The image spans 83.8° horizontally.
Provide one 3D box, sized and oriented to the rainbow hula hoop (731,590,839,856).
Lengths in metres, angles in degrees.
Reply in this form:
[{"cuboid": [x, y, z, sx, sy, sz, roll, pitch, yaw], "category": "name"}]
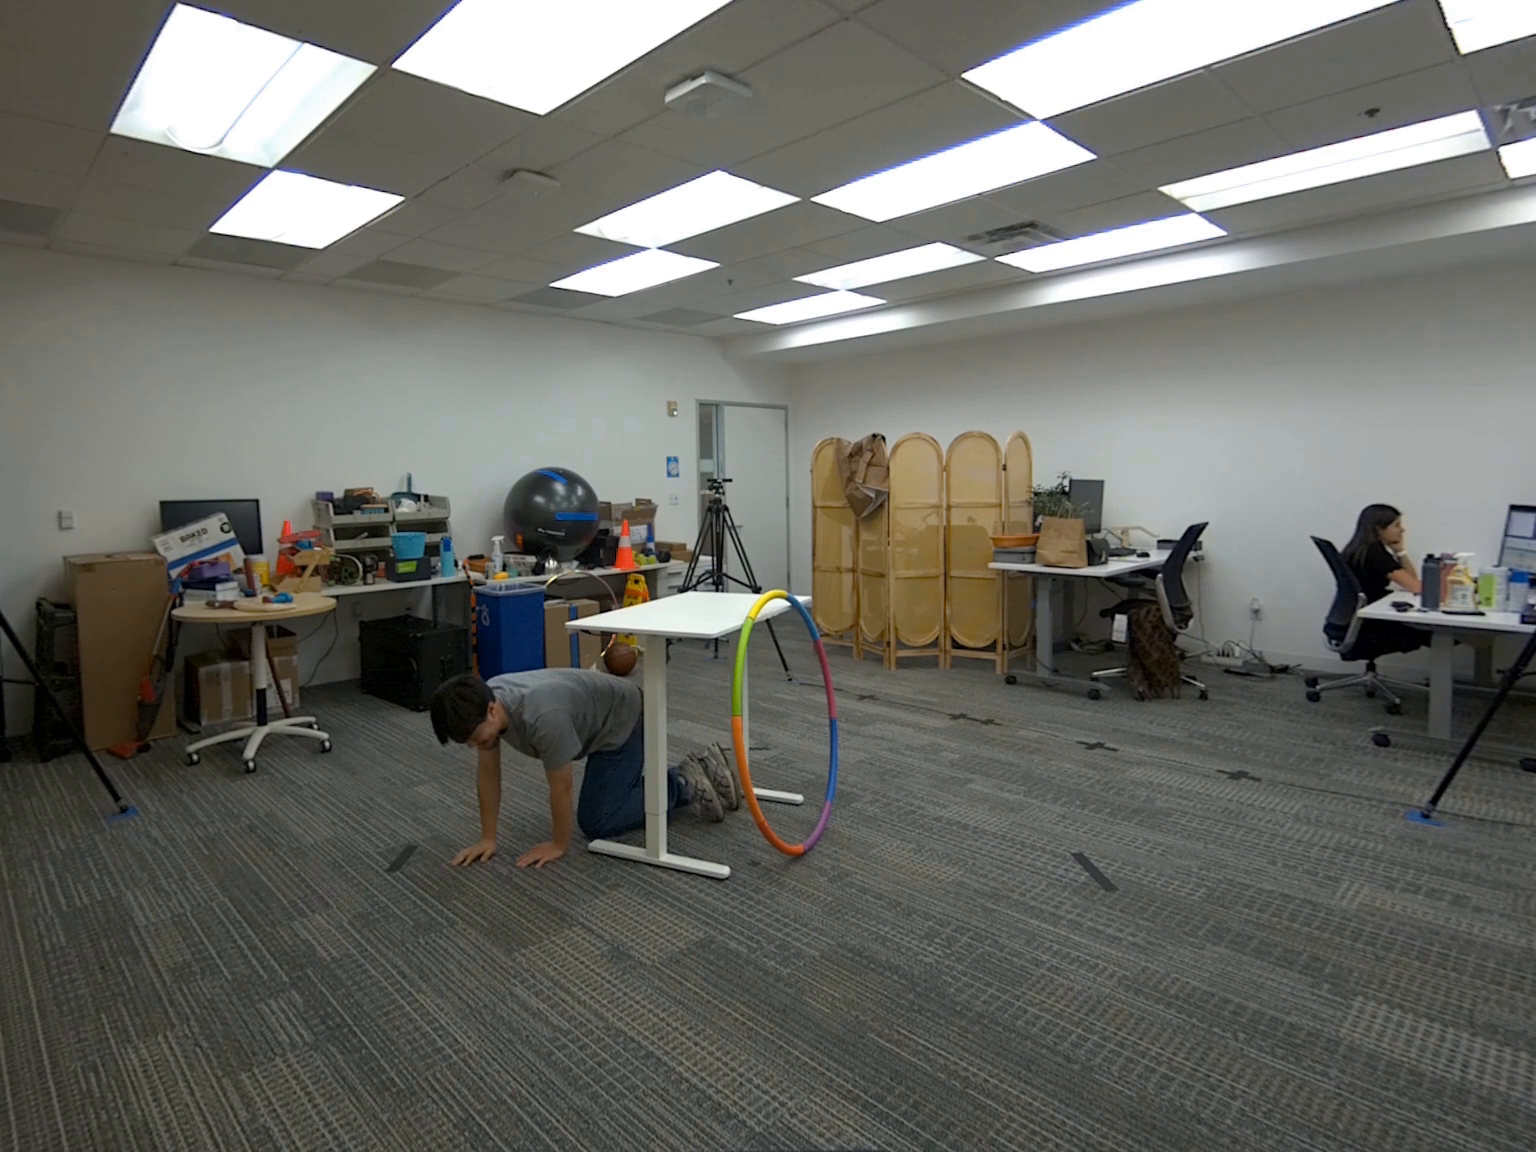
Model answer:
[{"cuboid": [0.088, 0.546, 3.266, 0.036, 0.979, 0.962, -10, 1, 22], "category": "rainbow hula hoop"}]
